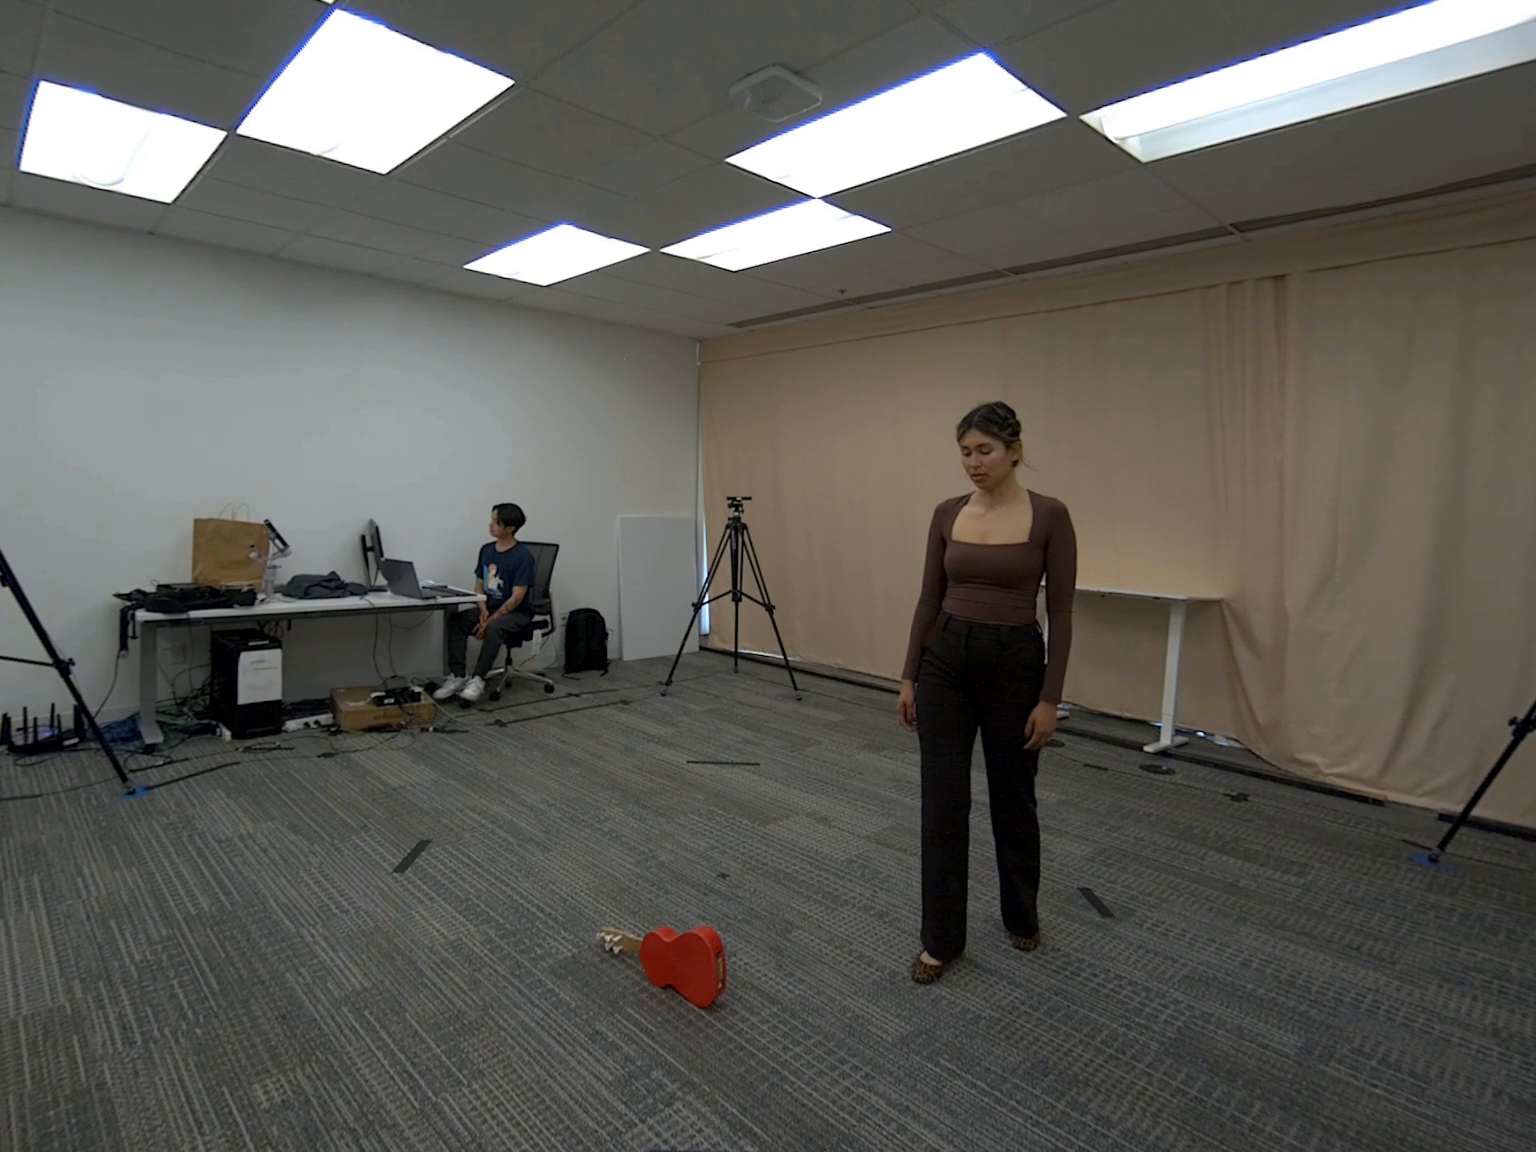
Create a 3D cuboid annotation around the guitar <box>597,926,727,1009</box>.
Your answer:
[{"bbox_3d":[-0.328,1.122,2.432,0.505,0.194,0.069,-17,-11,36],"label":"guitar"}]
